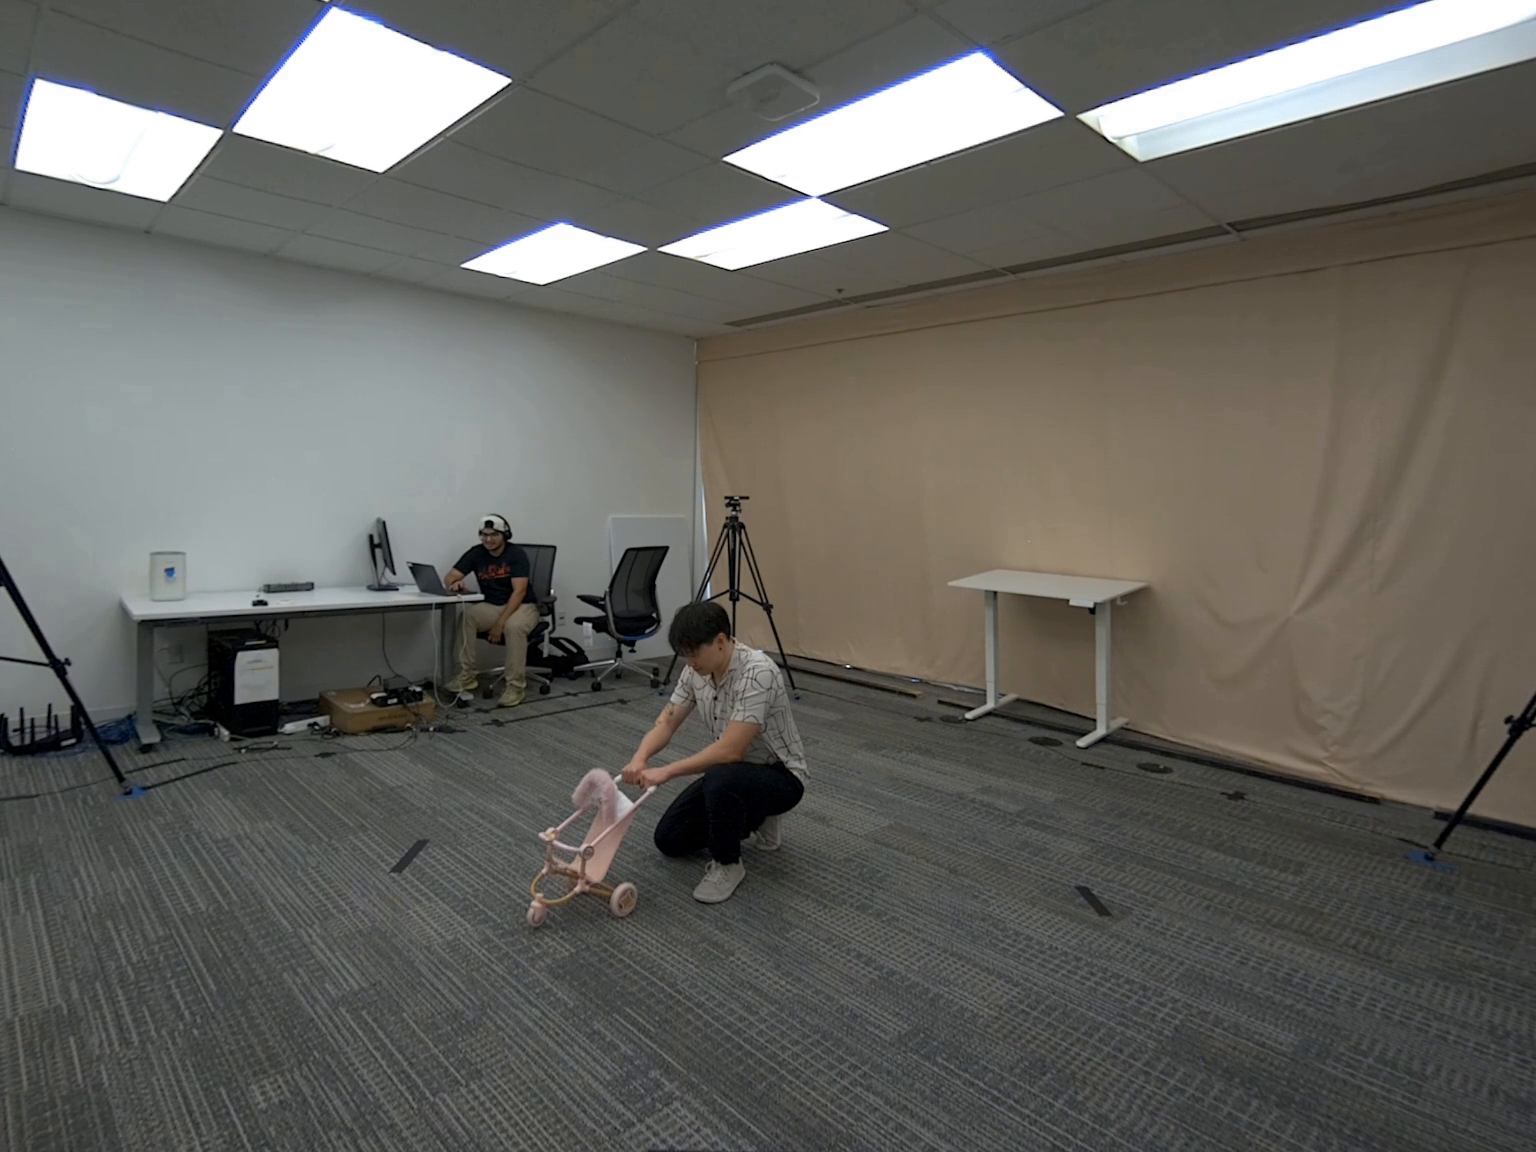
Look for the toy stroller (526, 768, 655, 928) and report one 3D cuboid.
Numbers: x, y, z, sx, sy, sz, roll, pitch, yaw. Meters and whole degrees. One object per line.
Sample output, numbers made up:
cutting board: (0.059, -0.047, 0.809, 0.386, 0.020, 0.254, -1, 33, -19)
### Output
toy stroller: (-0.604, 0.895, 2.825, 0.288, 0.538, 0.331, 2, -17, 47)
